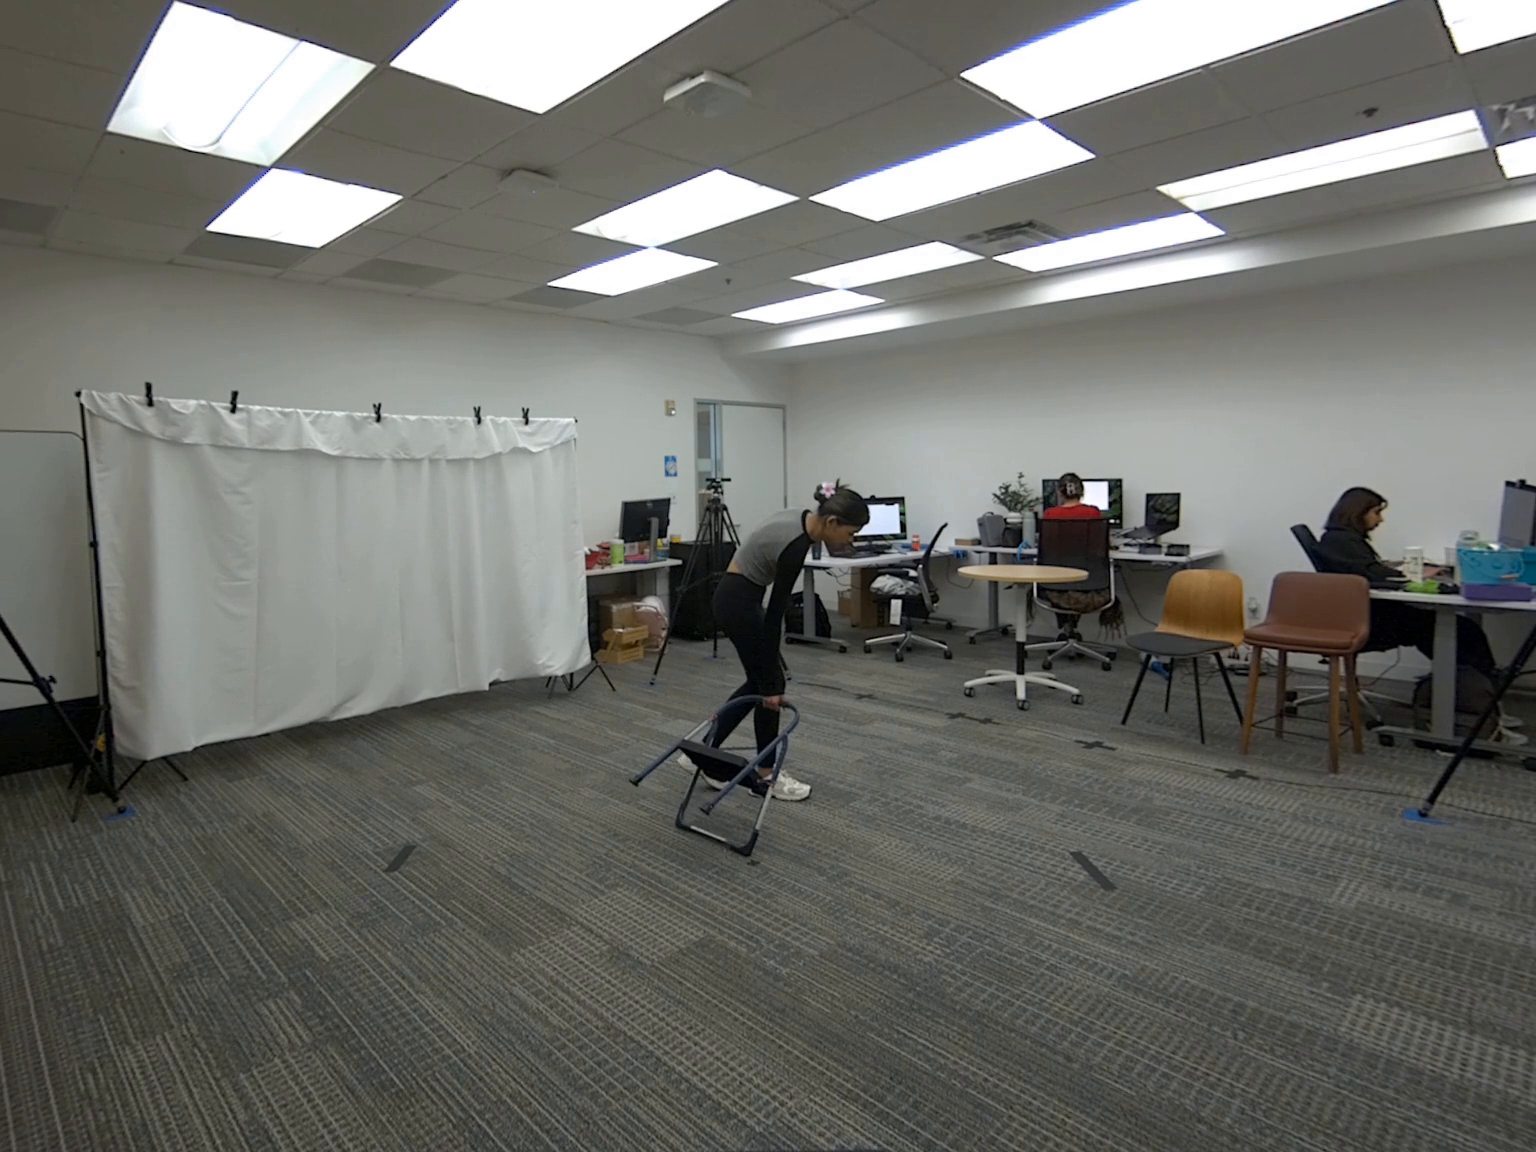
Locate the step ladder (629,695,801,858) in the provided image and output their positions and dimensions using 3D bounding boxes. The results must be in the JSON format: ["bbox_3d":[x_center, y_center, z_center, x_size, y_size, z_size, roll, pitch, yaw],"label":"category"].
[{"bbox_3d":[-0.153,0.691,3.353,0.444,0.337,0.609,4,50,43],"label":"step ladder"}]
